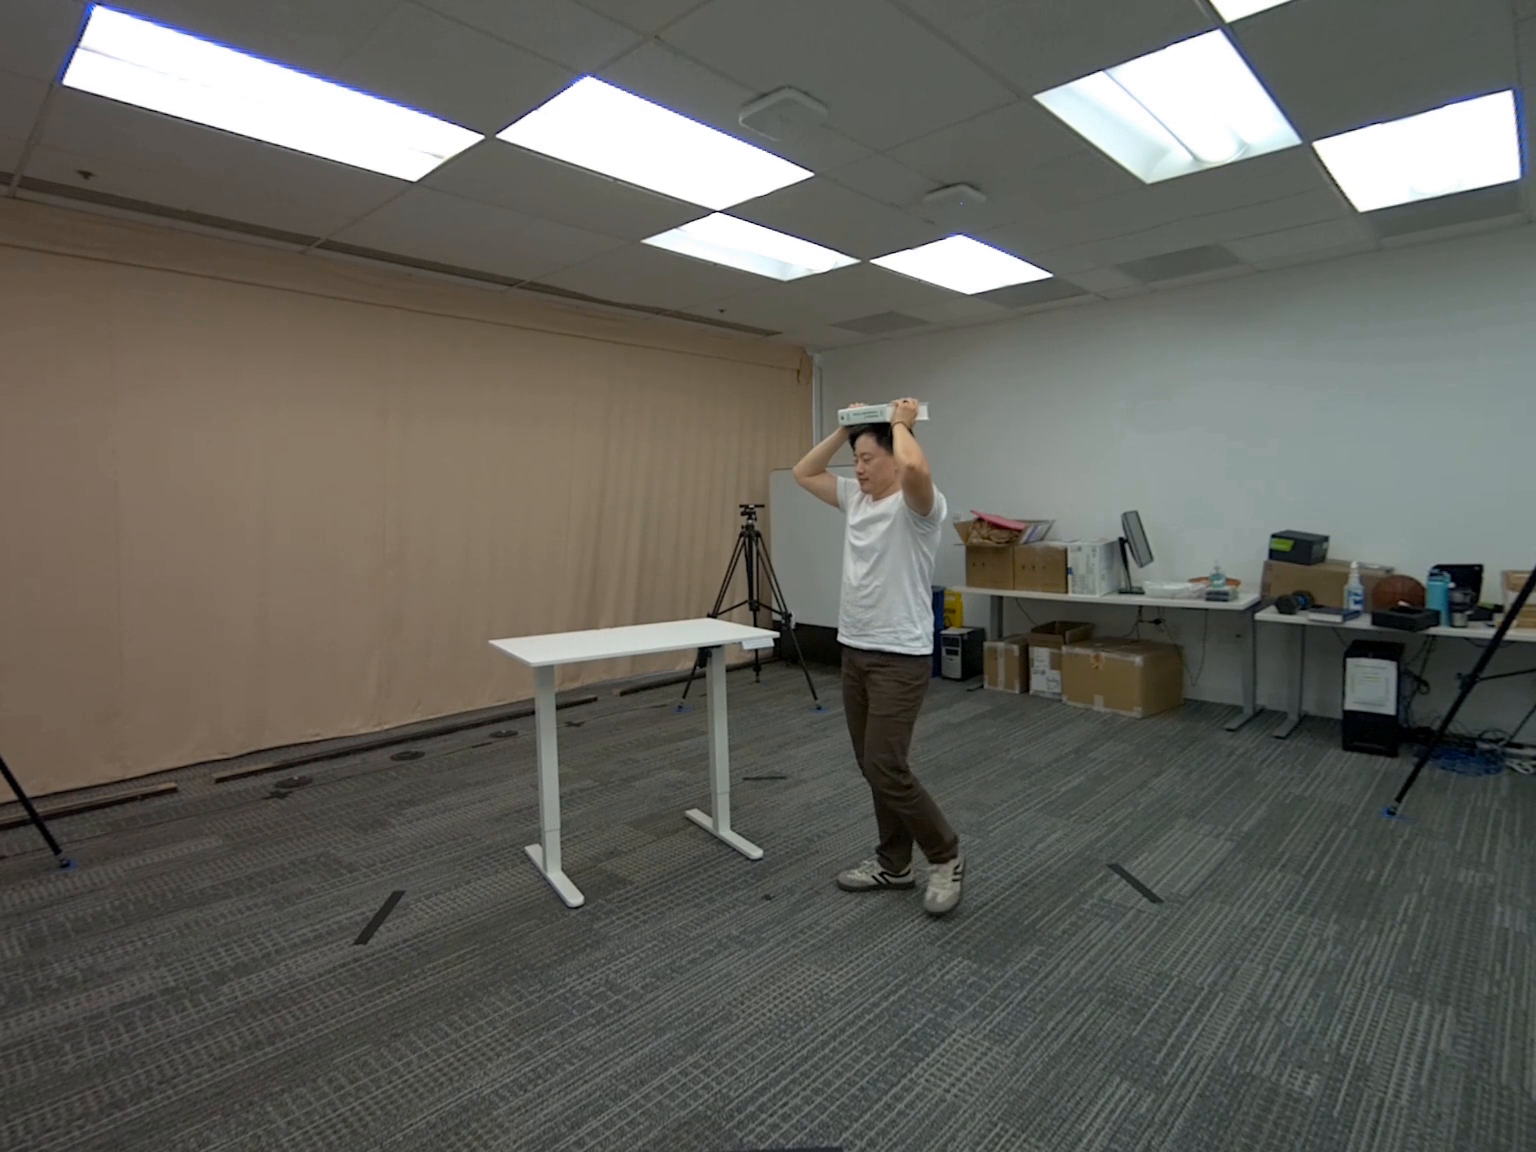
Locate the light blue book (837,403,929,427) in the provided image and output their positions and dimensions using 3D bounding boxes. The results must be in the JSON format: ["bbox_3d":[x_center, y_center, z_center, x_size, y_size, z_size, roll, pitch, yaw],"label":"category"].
[{"bbox_3d":[0.404,-0.555,2.900,0.186,0.059,0.269,-8,10,-30],"label":"light blue book"}]
